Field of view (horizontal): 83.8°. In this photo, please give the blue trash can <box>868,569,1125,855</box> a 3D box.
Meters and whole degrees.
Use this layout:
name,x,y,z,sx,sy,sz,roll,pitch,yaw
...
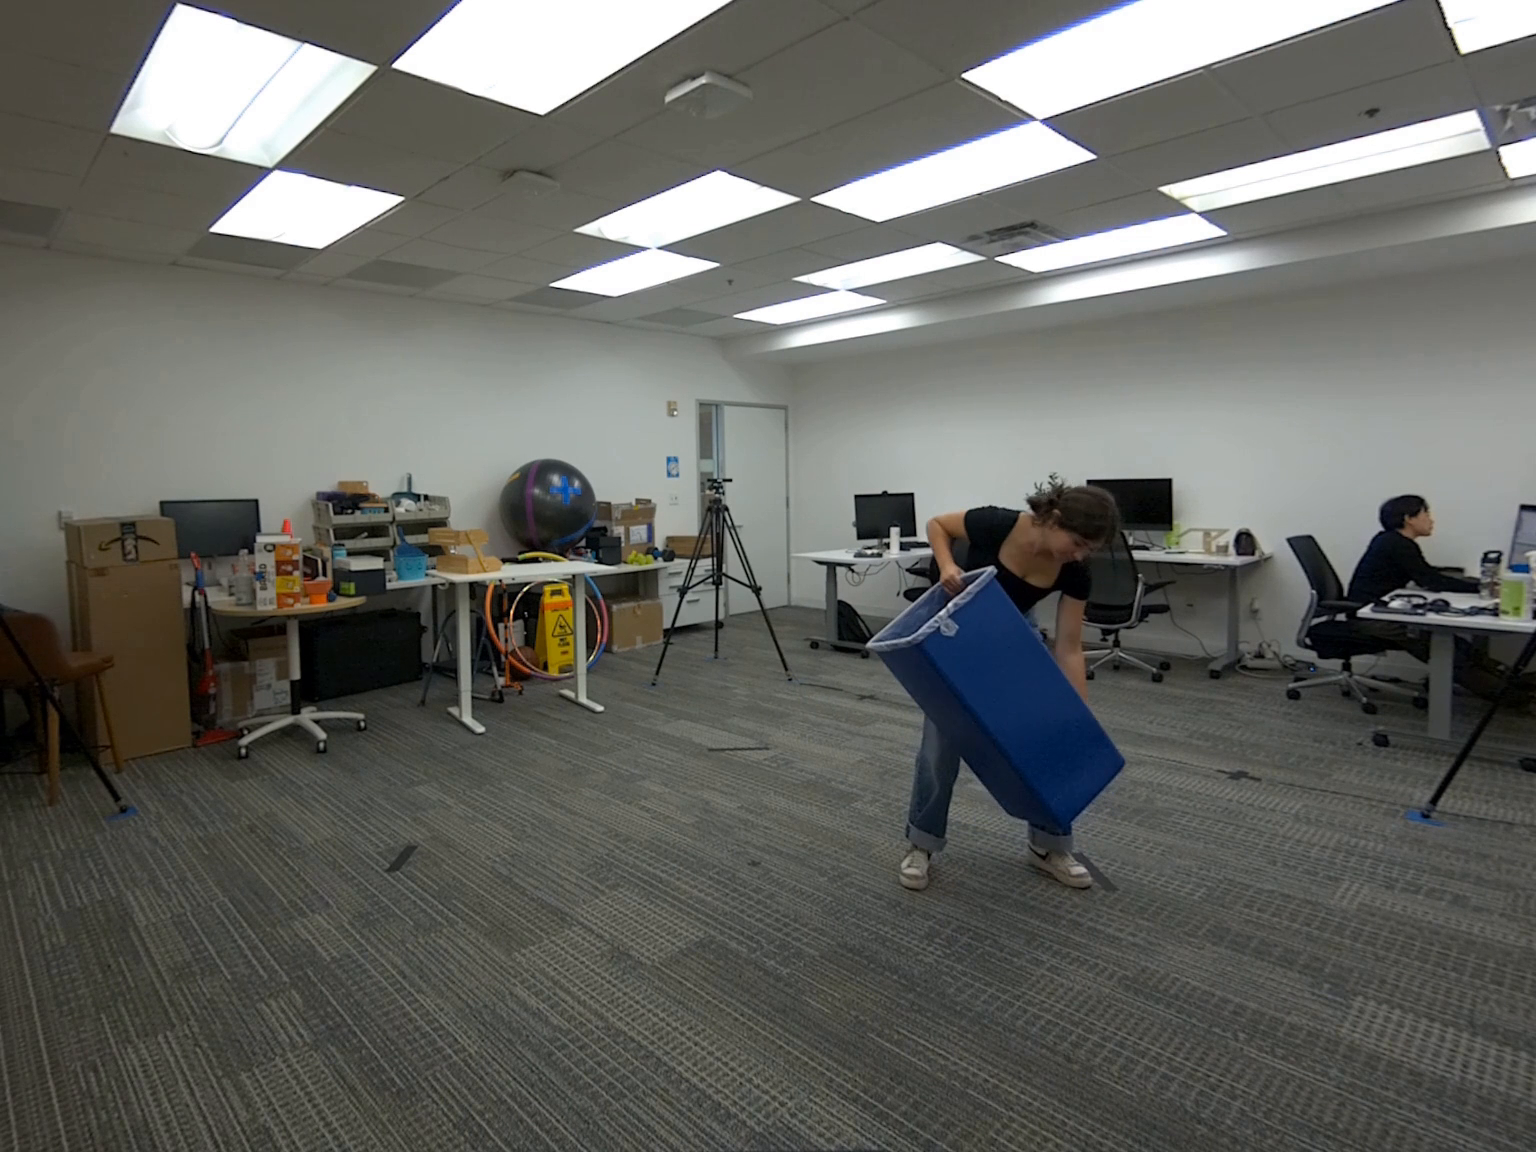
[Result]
name,x,y,z,sx,sy,sz,roll,pitch,yaw
blue trash can,0.712,0.391,2.646,0.372,0.715,0.379,-36,-1,-18
